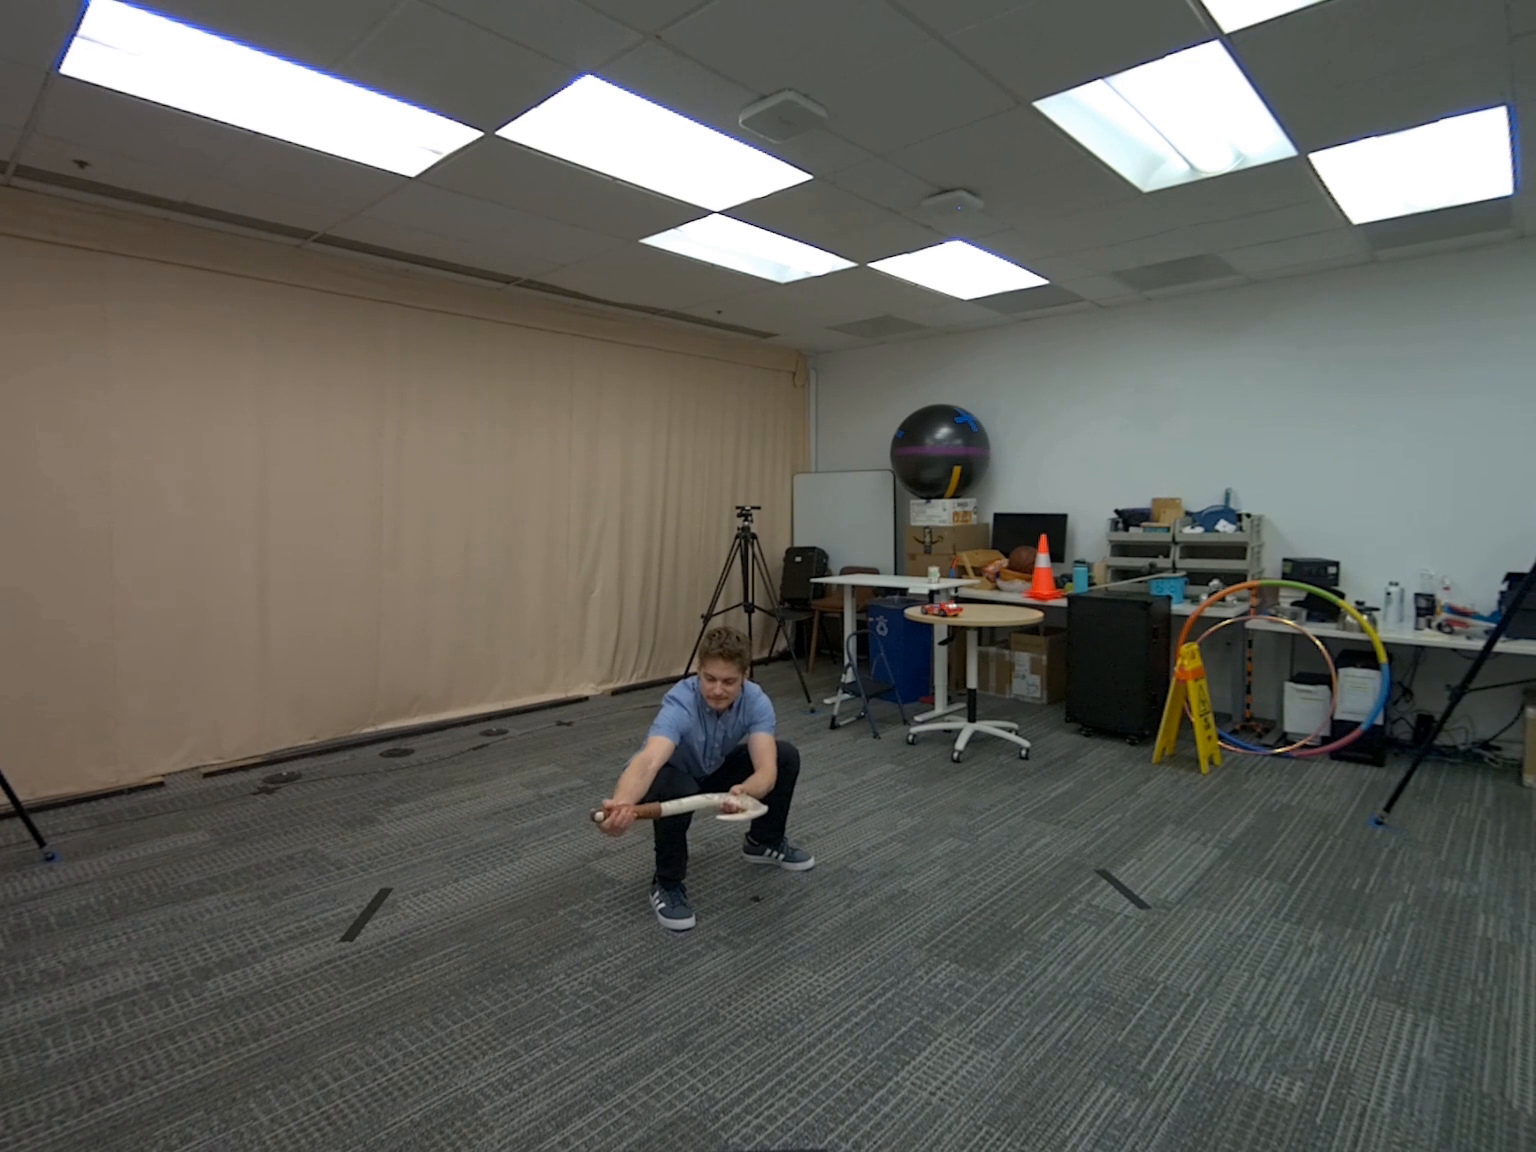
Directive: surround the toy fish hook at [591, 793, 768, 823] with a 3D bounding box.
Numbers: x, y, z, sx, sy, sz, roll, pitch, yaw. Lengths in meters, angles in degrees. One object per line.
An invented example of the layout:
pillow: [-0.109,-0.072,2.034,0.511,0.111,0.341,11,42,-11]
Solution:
toy fish hook: [-0.229,0.650,2.326,0.491,0.048,0.231,2,-5,-33]
